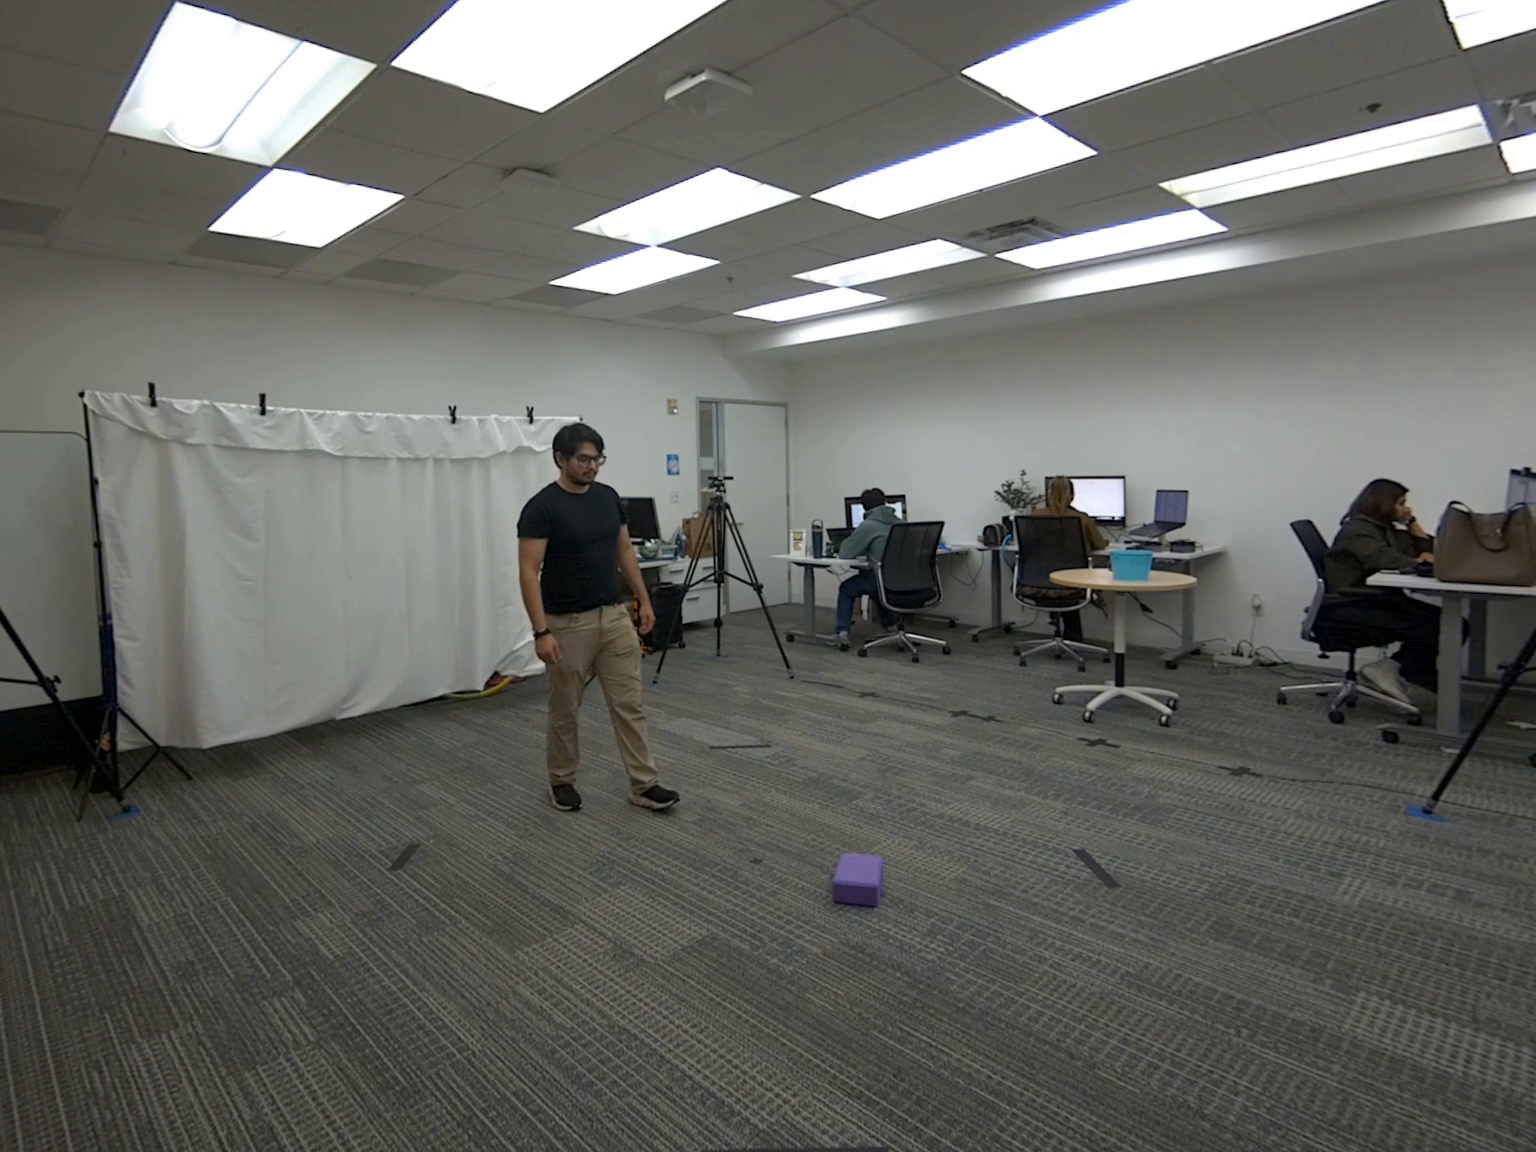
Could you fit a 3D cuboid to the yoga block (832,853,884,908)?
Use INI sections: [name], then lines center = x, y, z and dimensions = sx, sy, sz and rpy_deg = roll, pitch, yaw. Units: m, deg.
[yoga block]
center = 0.308, 1.015, 2.874
dimensions = 0.151, 0.076, 0.227
rpy_deg = -1, 8, 14
